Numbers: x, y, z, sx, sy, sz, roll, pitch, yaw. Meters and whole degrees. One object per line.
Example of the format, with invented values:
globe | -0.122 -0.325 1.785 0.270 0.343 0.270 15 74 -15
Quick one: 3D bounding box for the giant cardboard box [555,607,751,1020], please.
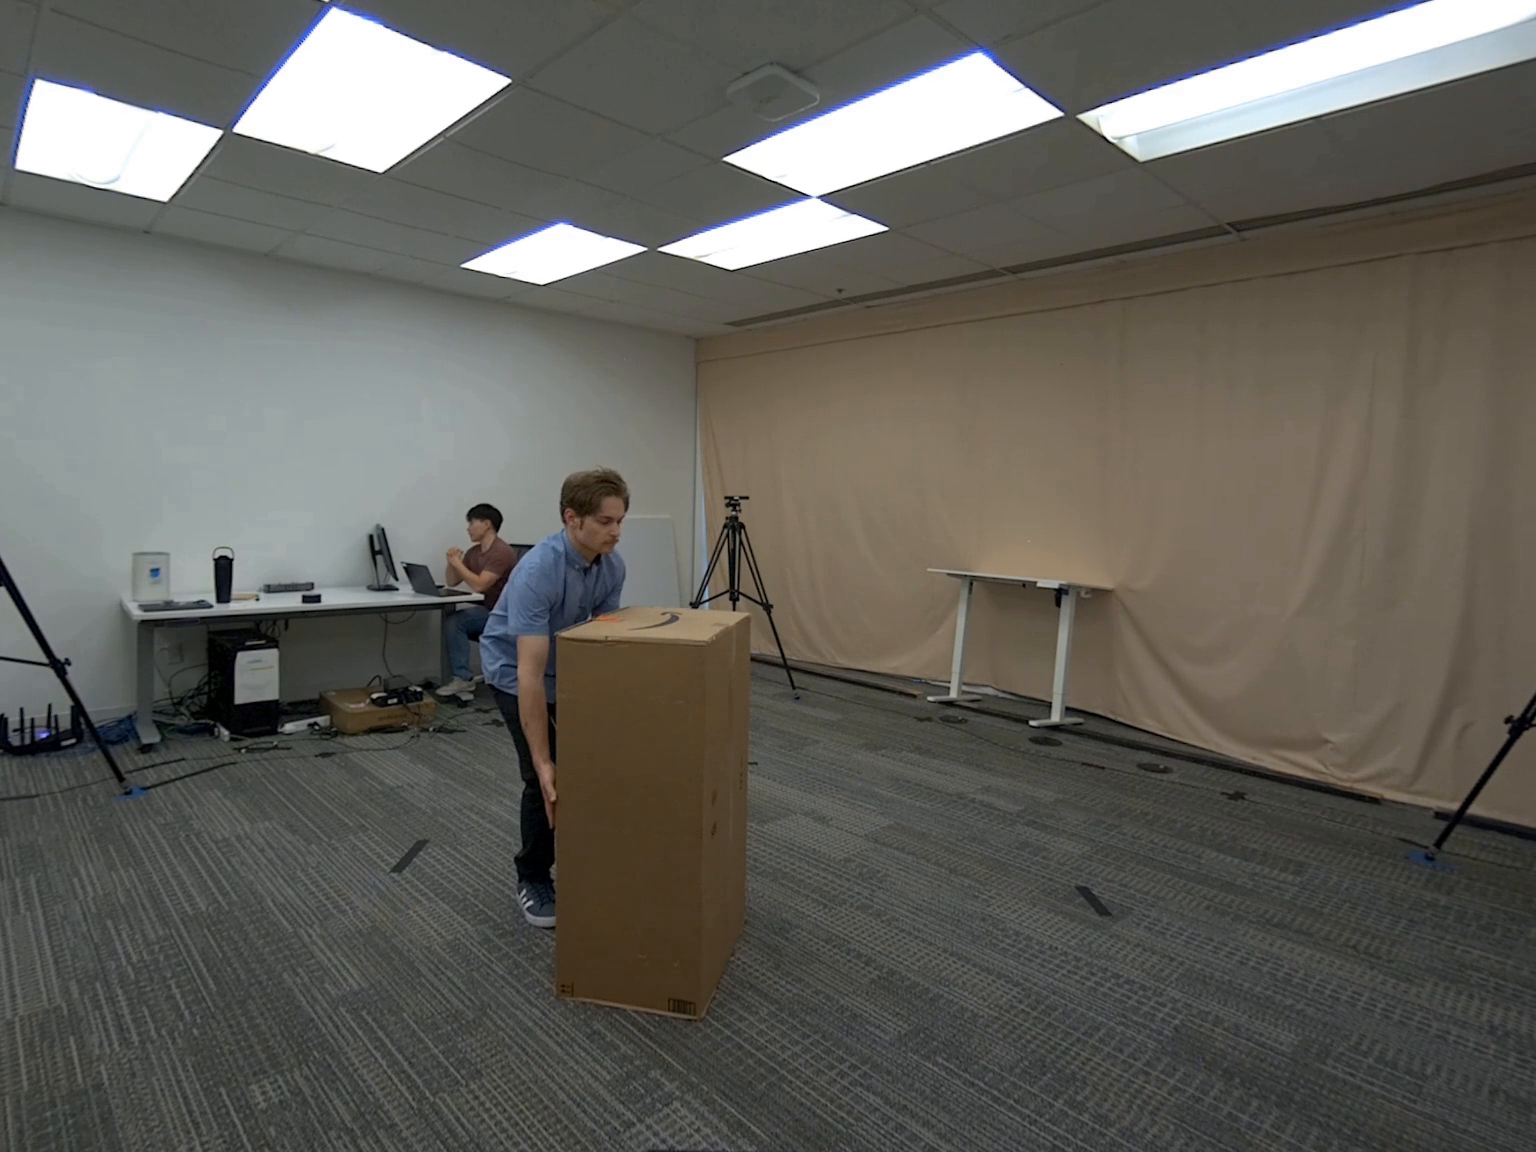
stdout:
giant cardboard box | -0.329 0.647 2.513 0.431 1.023 0.572 2 4 13
